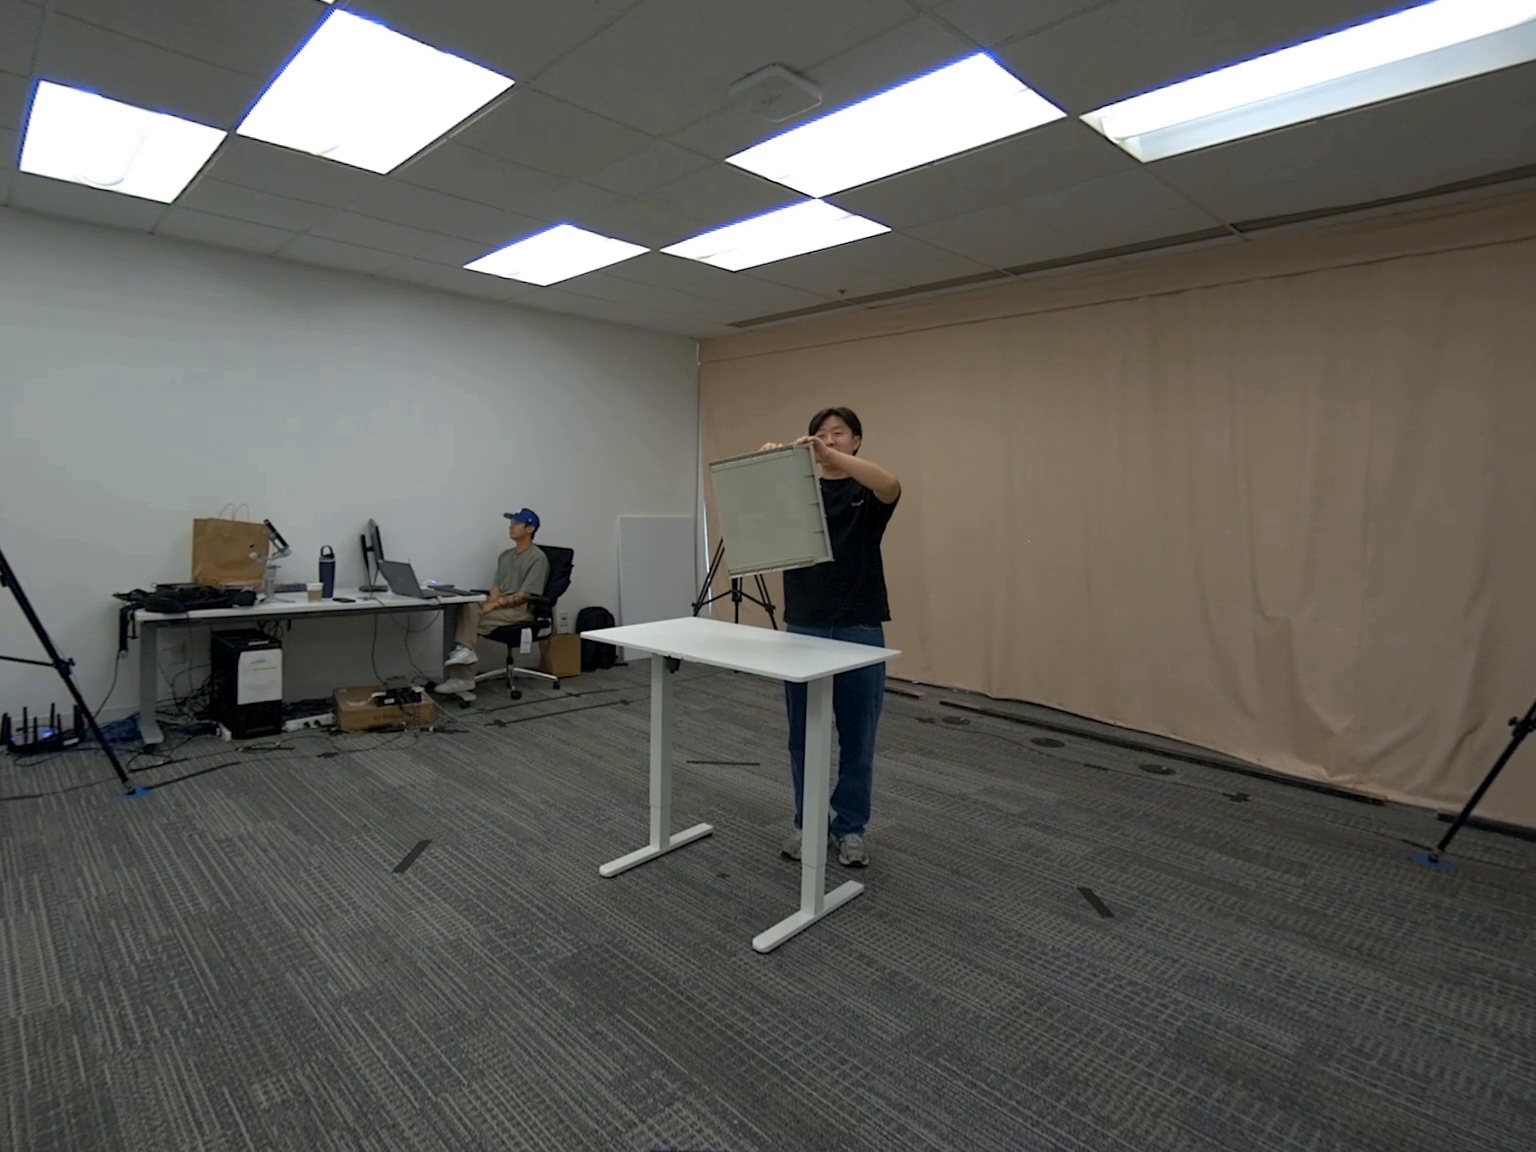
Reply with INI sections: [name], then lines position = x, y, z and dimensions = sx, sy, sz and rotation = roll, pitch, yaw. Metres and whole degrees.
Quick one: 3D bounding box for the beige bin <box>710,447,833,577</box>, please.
[beige bin]
position = 0.011, -0.228, 2.967
dimensions = 0.382, 0.422, 0.187
rotation = -10, 2, 18
